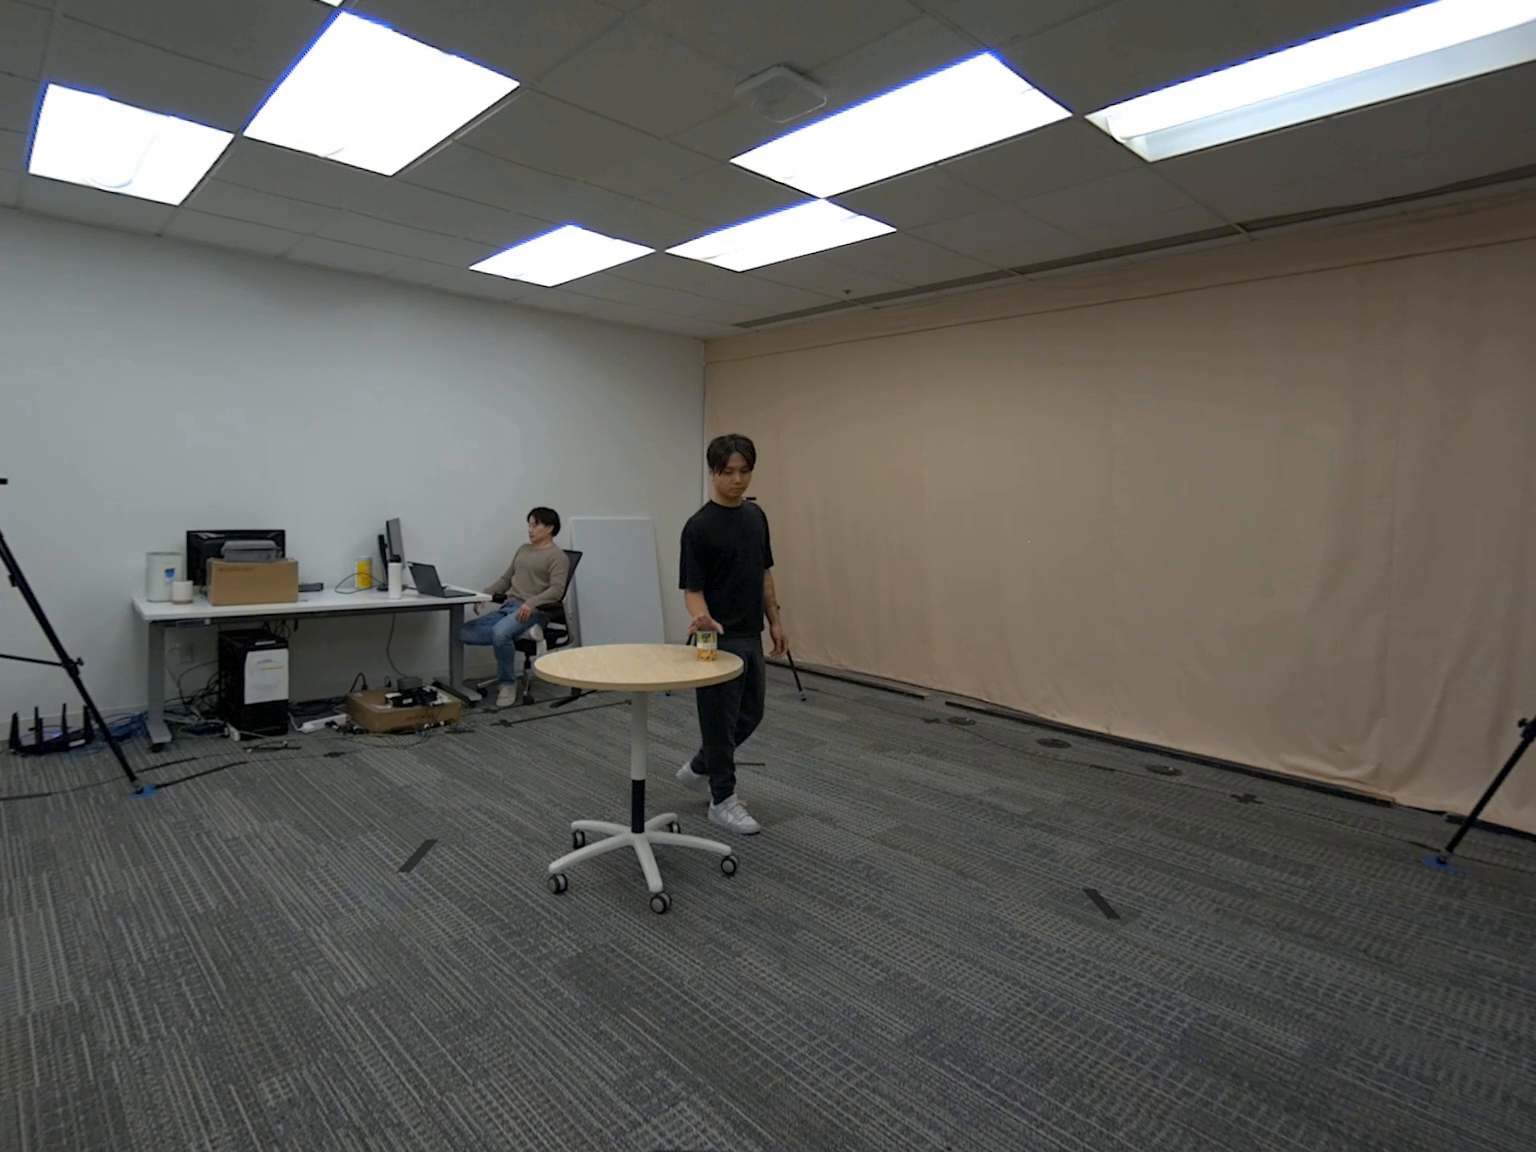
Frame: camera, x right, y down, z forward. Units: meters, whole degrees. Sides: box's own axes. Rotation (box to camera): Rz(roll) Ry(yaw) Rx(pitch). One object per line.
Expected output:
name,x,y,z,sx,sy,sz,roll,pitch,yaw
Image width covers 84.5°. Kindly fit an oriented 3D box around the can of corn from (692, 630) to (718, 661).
can of corn,-0.248,0.261,3.153,0.074,0.111,0.074,2,3,-1
